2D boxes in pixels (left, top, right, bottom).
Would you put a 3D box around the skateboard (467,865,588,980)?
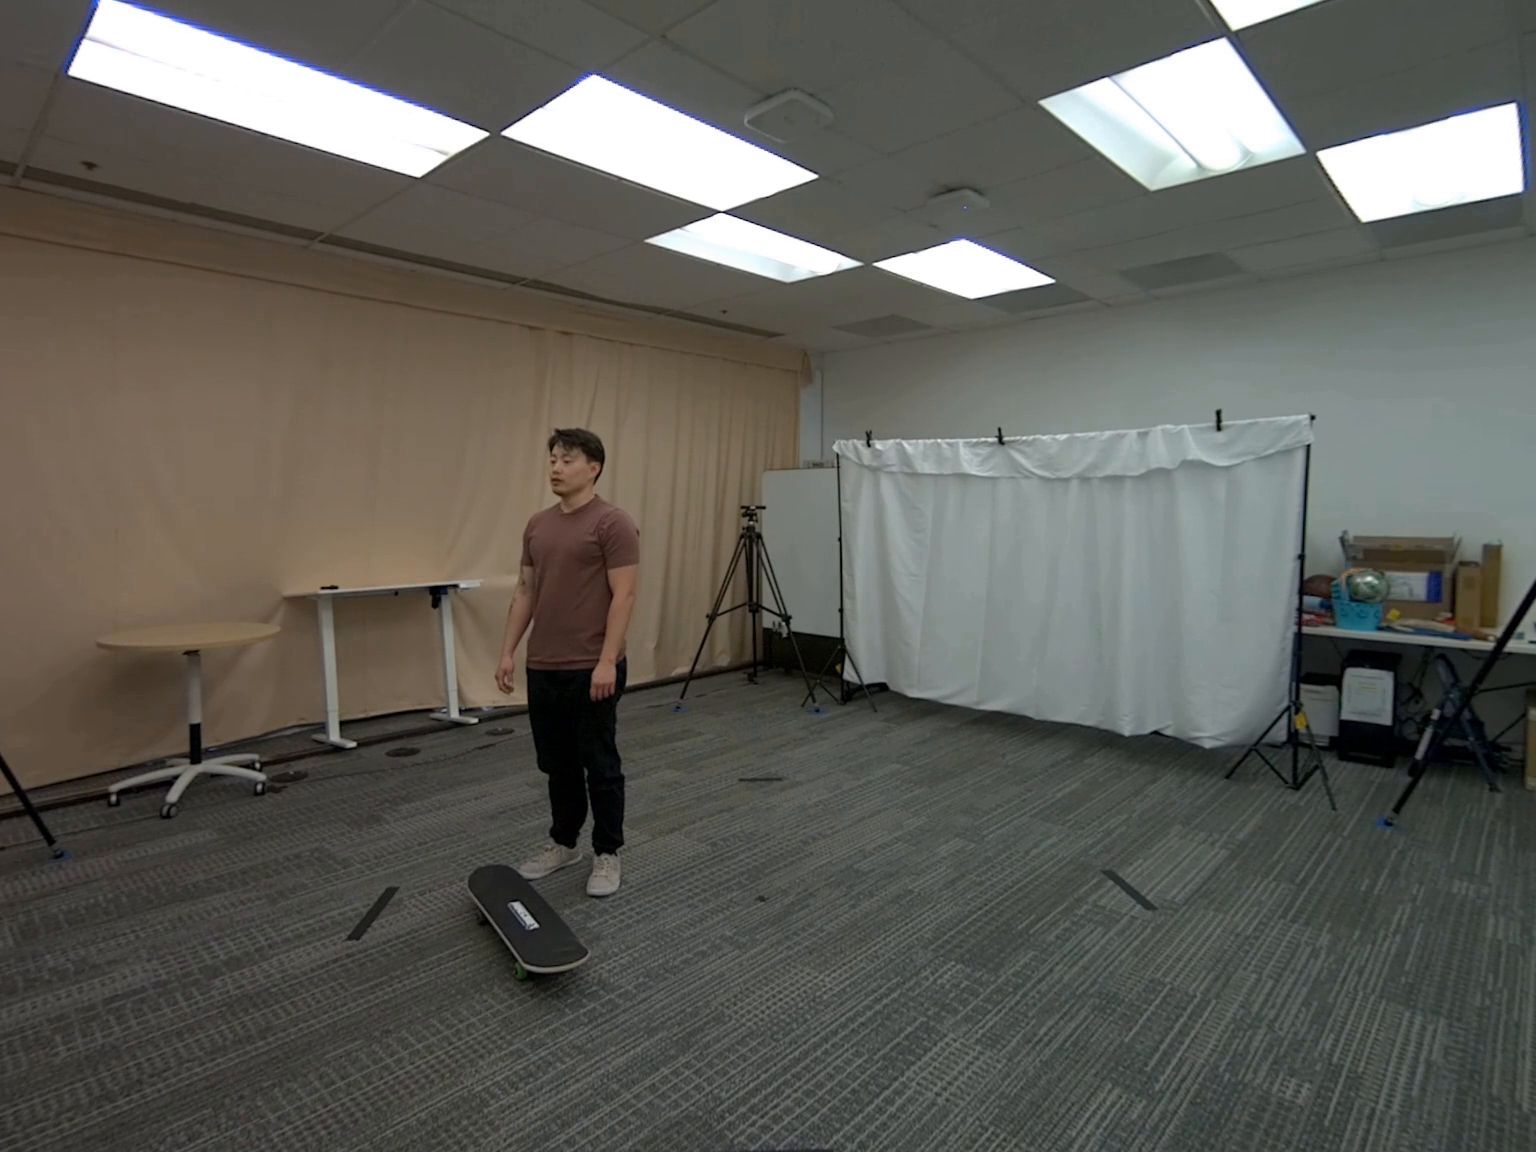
[{"bbox_3d":[-0.779,1.115,2.692,0.188,0.110,0.810,-3,5,-34],"label":"skateboard"}]
